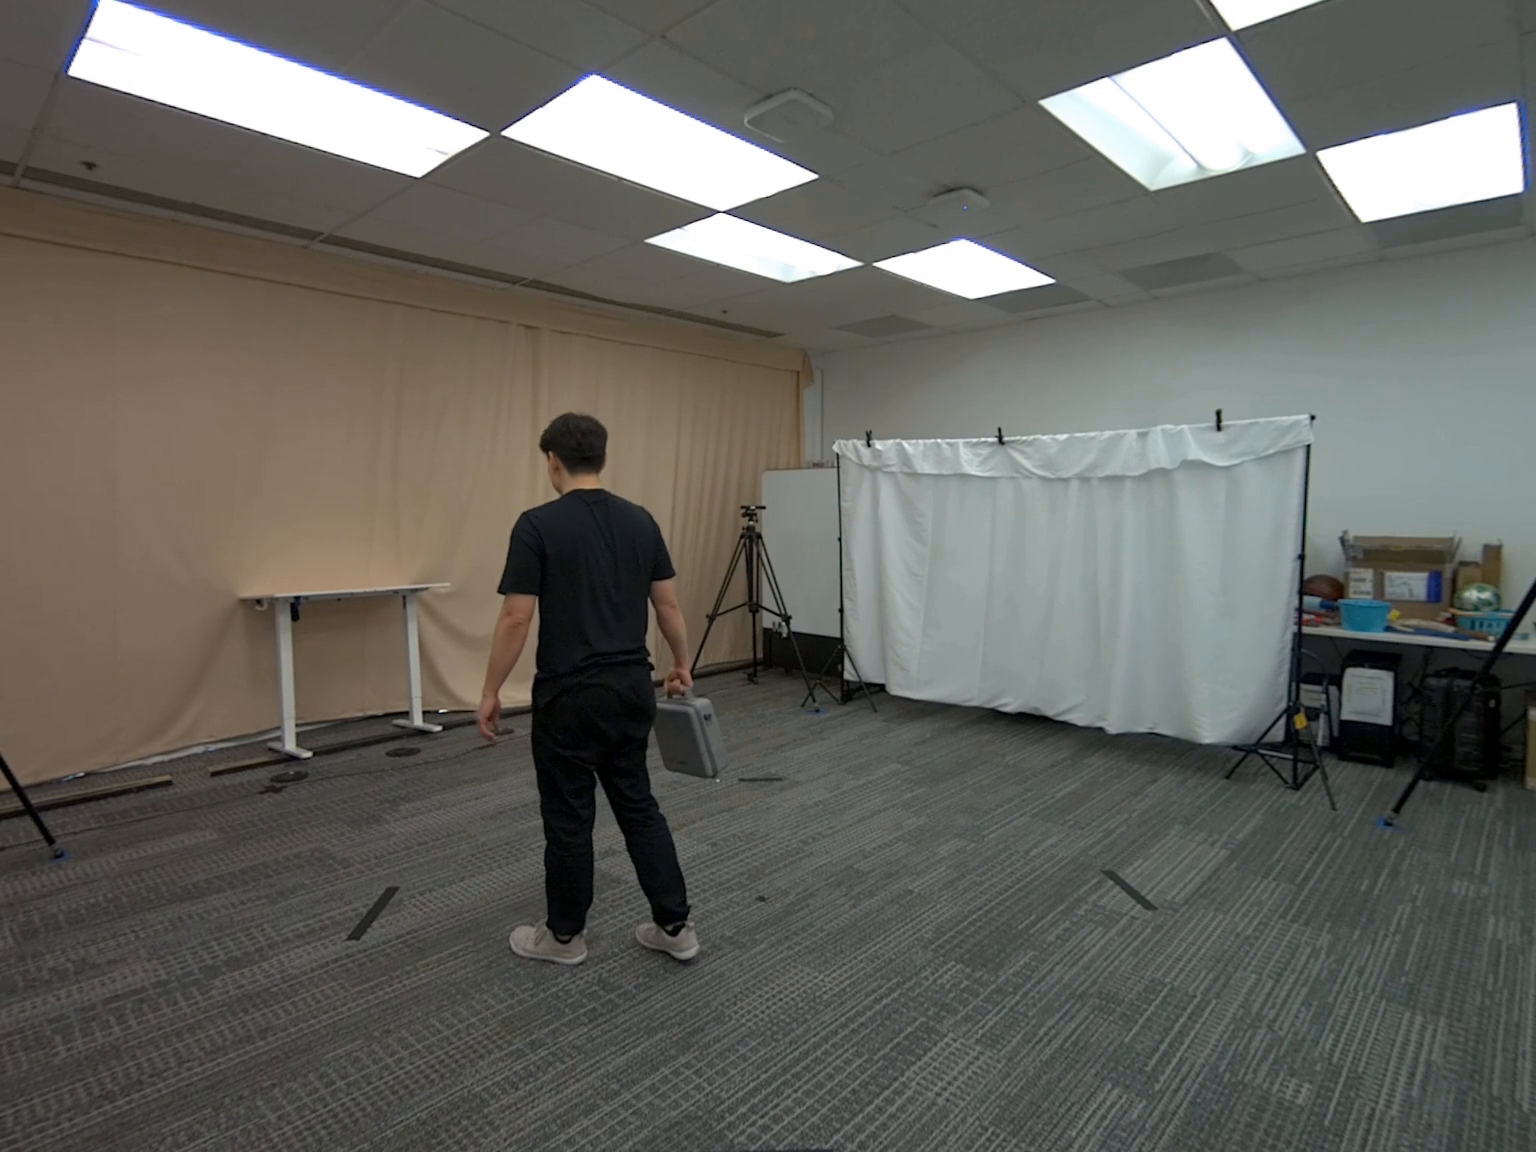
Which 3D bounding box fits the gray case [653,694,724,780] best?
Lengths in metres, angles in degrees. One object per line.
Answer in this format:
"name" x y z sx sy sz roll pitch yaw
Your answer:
"gray case" -0.275 0.528 2.807 0.102 0.259 0.264 -17 8 -38
